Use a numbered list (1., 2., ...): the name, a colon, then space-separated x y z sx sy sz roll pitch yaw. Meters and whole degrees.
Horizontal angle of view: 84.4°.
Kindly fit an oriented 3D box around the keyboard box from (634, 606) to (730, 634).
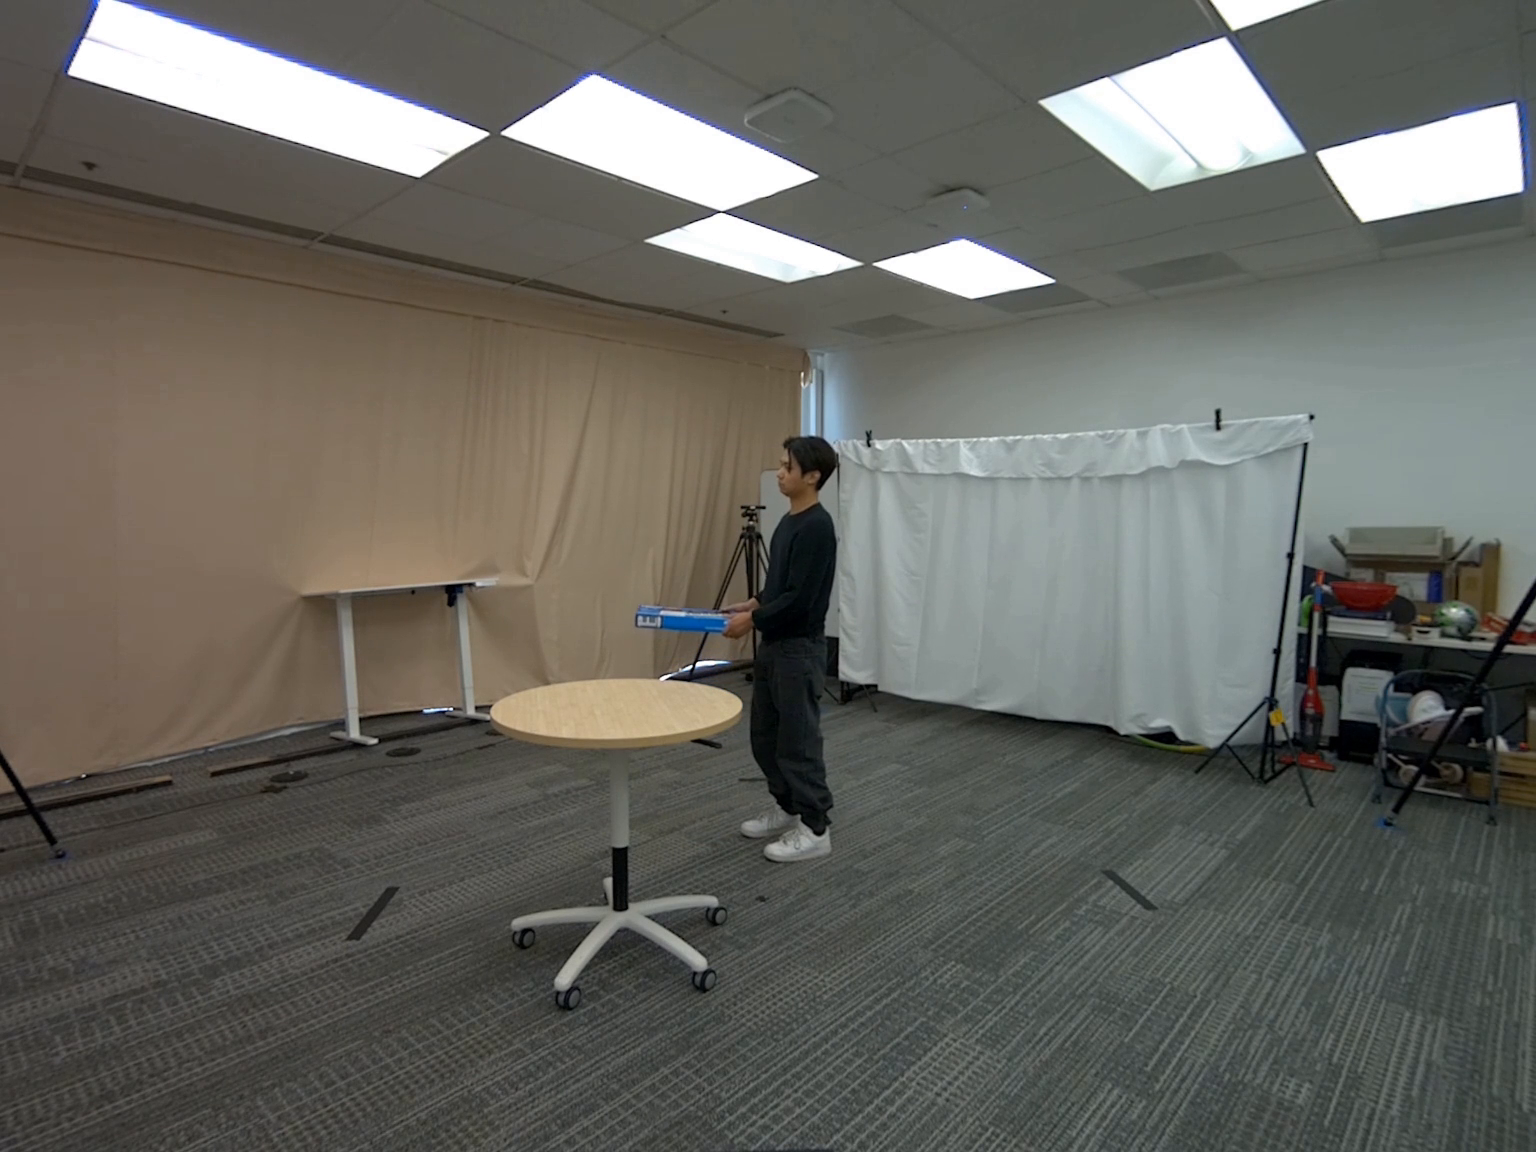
1. keyboard box: -0.312 0.178 3.425 0.437 0.059 0.176 3 7 1
